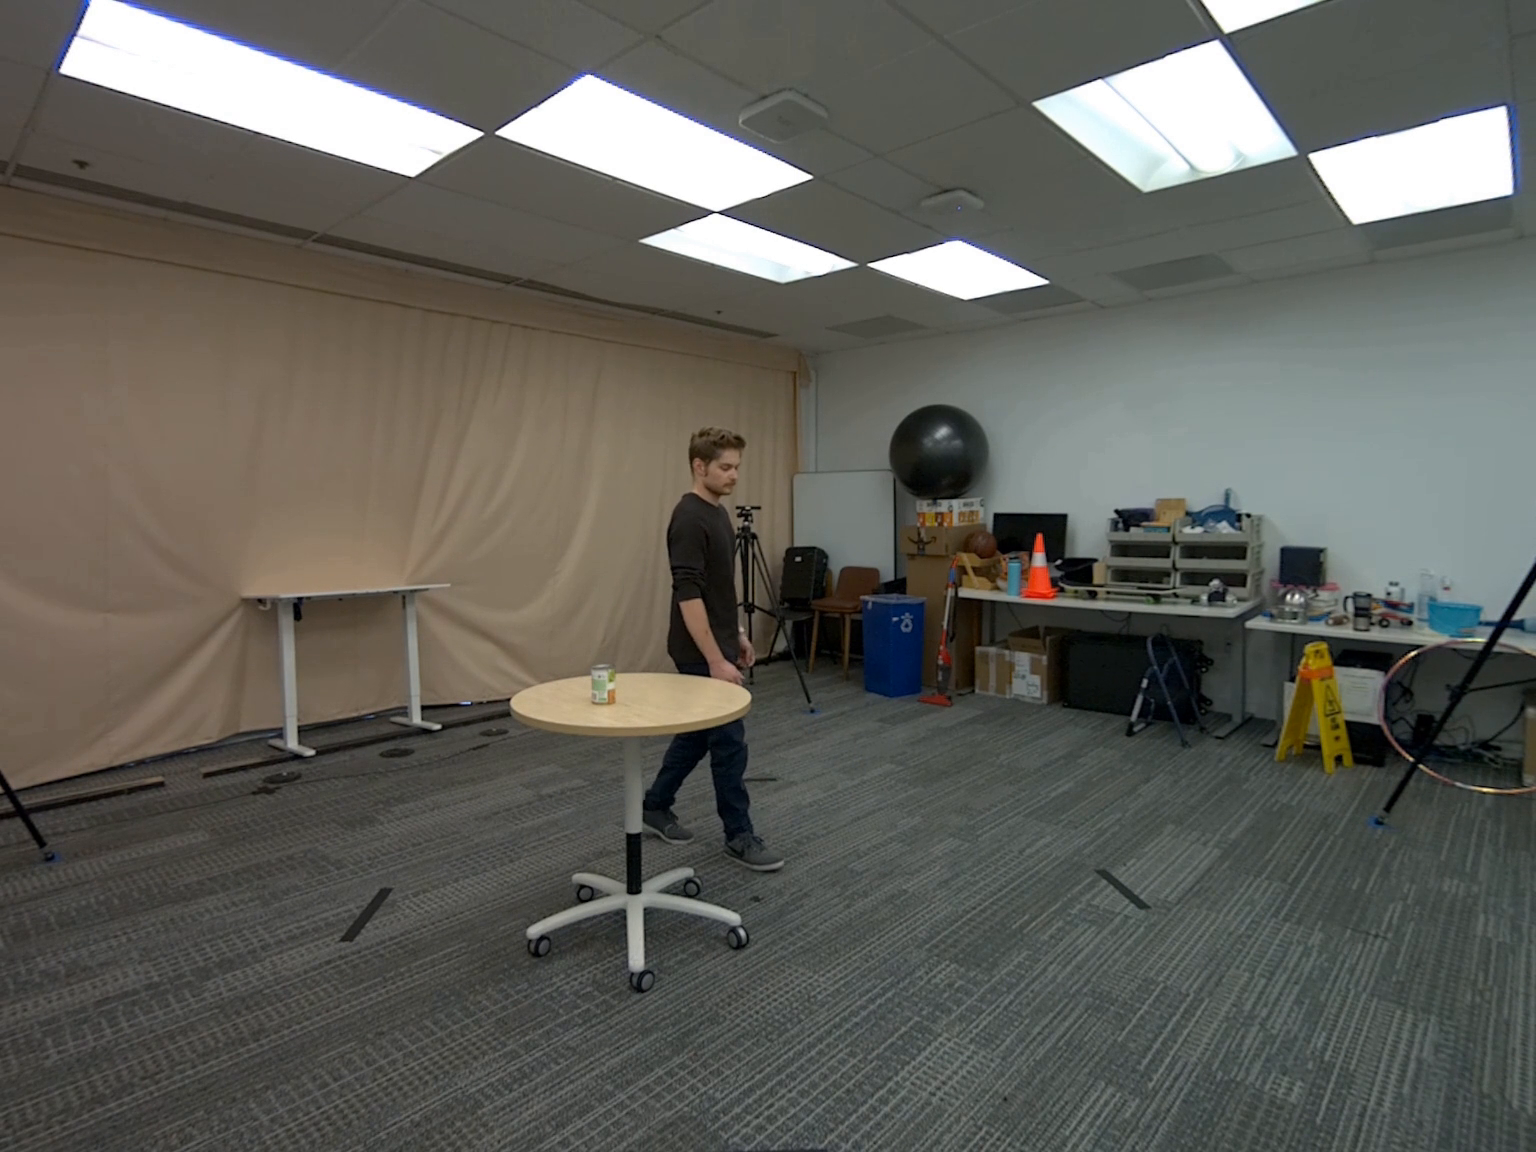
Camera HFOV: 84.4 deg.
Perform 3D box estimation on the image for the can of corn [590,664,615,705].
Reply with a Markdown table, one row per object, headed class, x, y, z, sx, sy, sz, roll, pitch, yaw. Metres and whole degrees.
| class | x | y | z | sx | sy | sz | roll | pitch | yaw |
| --- | --- | --- | --- | --- | --- | --- | --- | --- | --- |
| can of corn | -0.514 | 0.336 | 2.619 | 0.074 | 0.111 | 0.074 | -4 | 3 | -2 |
